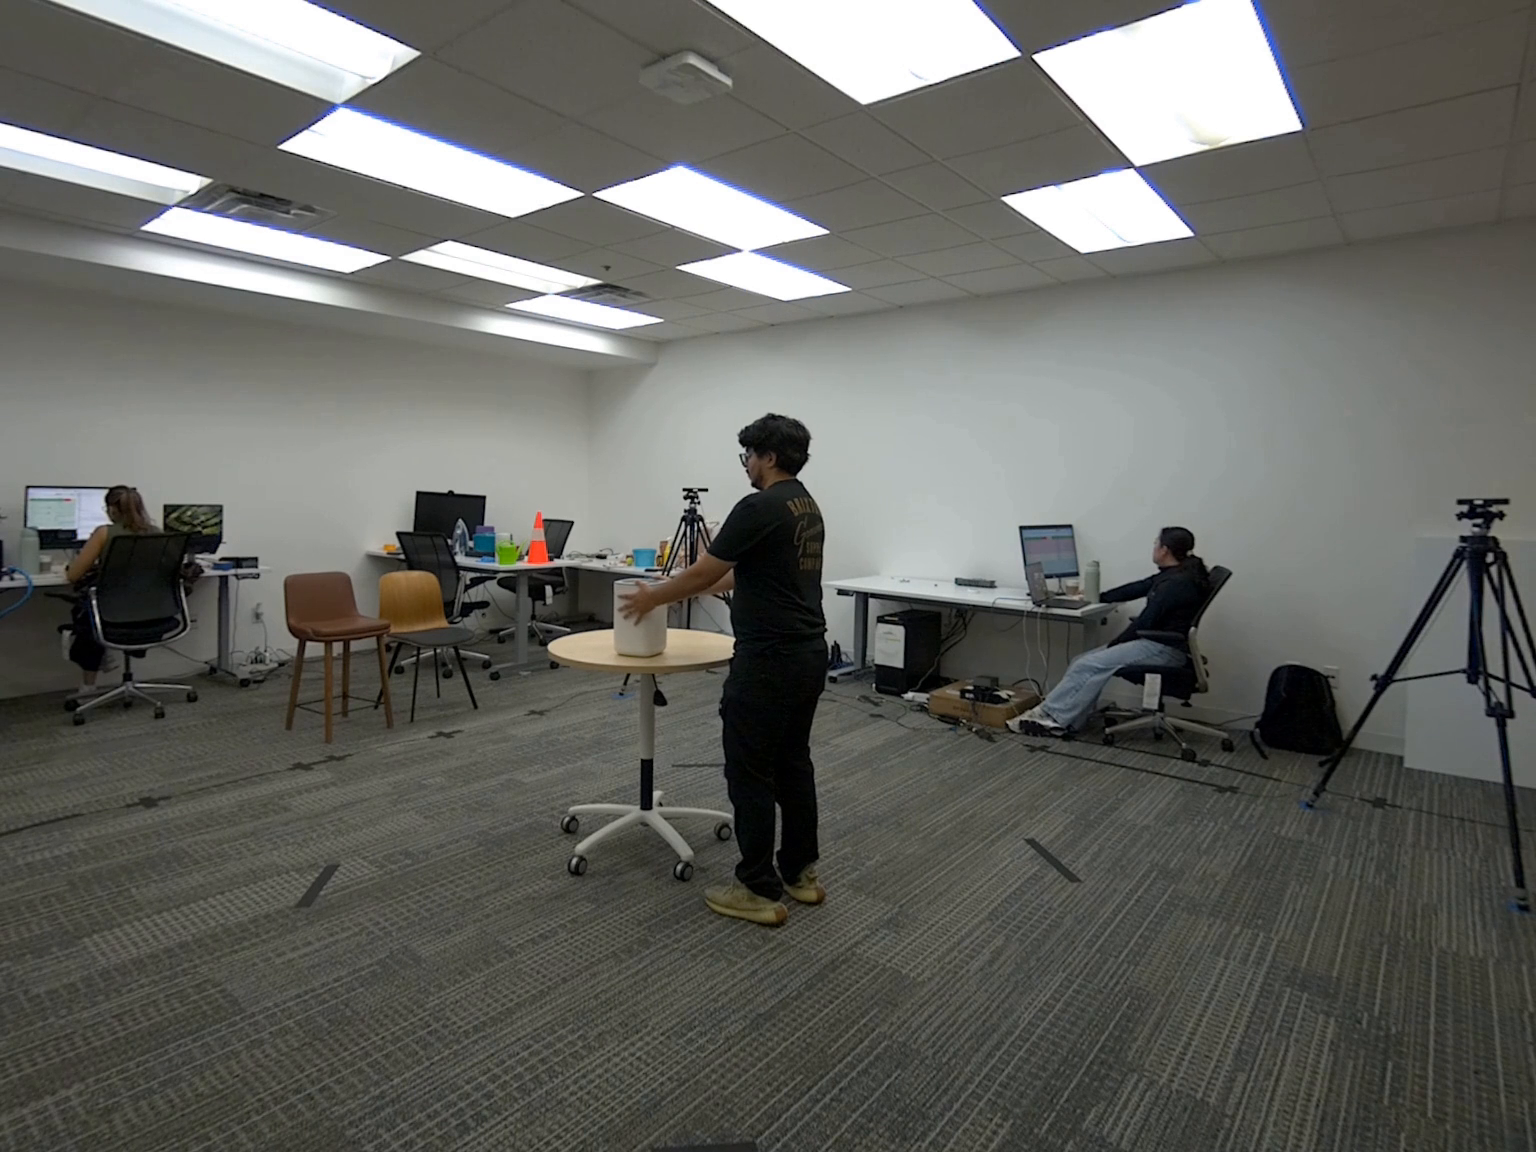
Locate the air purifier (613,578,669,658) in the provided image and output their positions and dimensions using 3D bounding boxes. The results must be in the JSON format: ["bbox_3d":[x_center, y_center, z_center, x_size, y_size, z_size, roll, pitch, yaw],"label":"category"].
[{"bbox_3d":[-0.474,0.148,3.119,0.175,0.264,0.168,2,4,21],"label":"air purifier"}]
